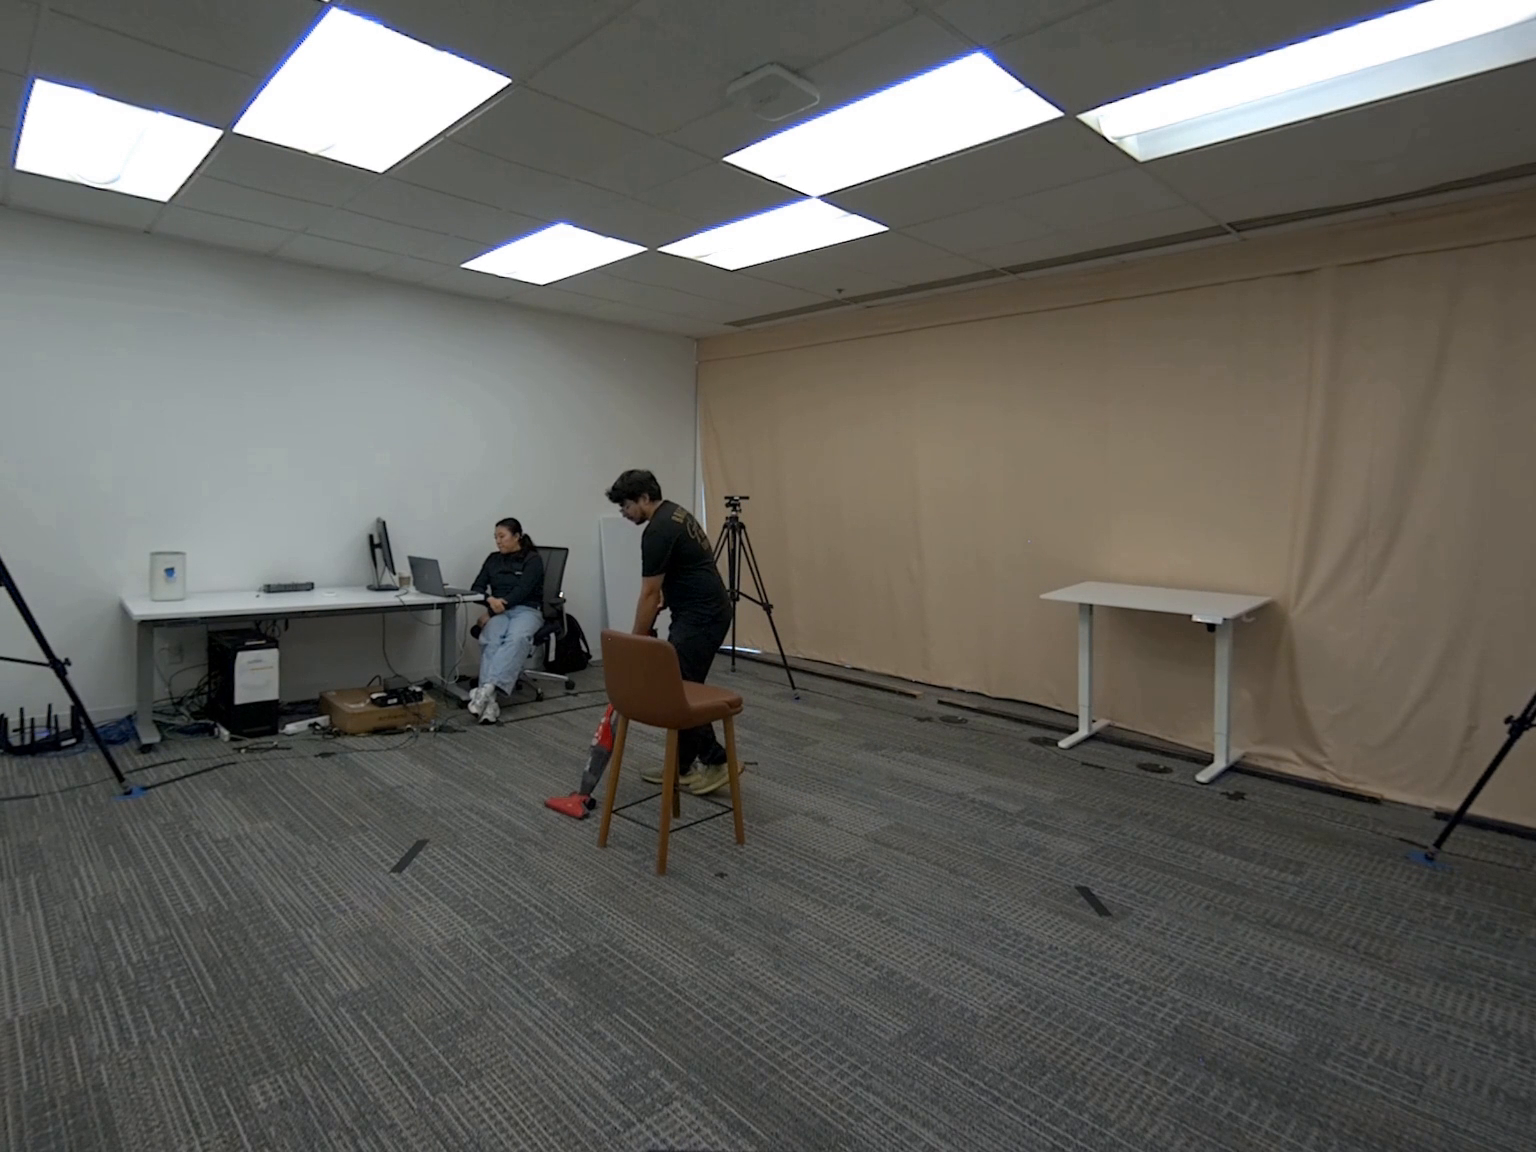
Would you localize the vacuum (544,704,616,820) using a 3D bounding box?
[{"bbox_3d":[-0.705,0.580,3.912,0.258,1.059,0.139,1,-28,38],"label":"vacuum"}]
